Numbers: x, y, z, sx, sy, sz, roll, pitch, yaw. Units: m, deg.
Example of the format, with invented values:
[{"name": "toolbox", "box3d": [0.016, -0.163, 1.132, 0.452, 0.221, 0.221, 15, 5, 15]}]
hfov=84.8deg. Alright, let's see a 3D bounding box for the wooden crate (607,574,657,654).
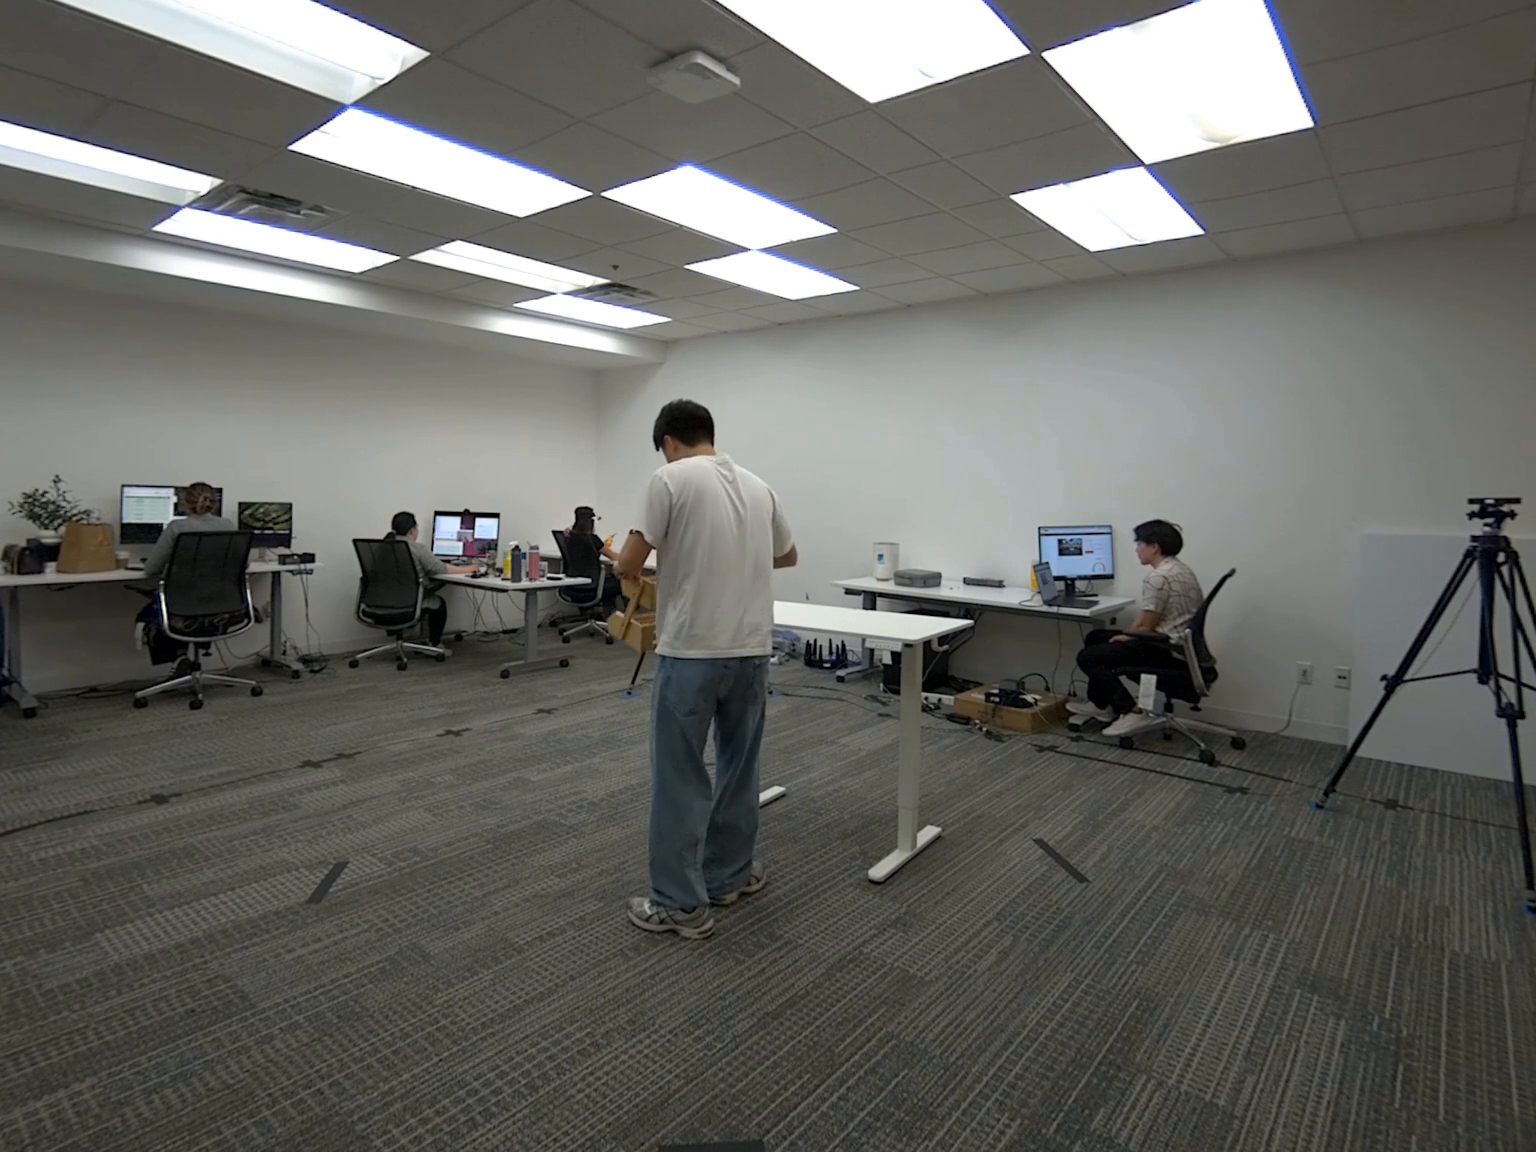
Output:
[{"name": "wooden crate", "box3d": [-0.378, 0.103, 3.069, 0.316, 0.270, 0.314, -7, 17, -36]}]
